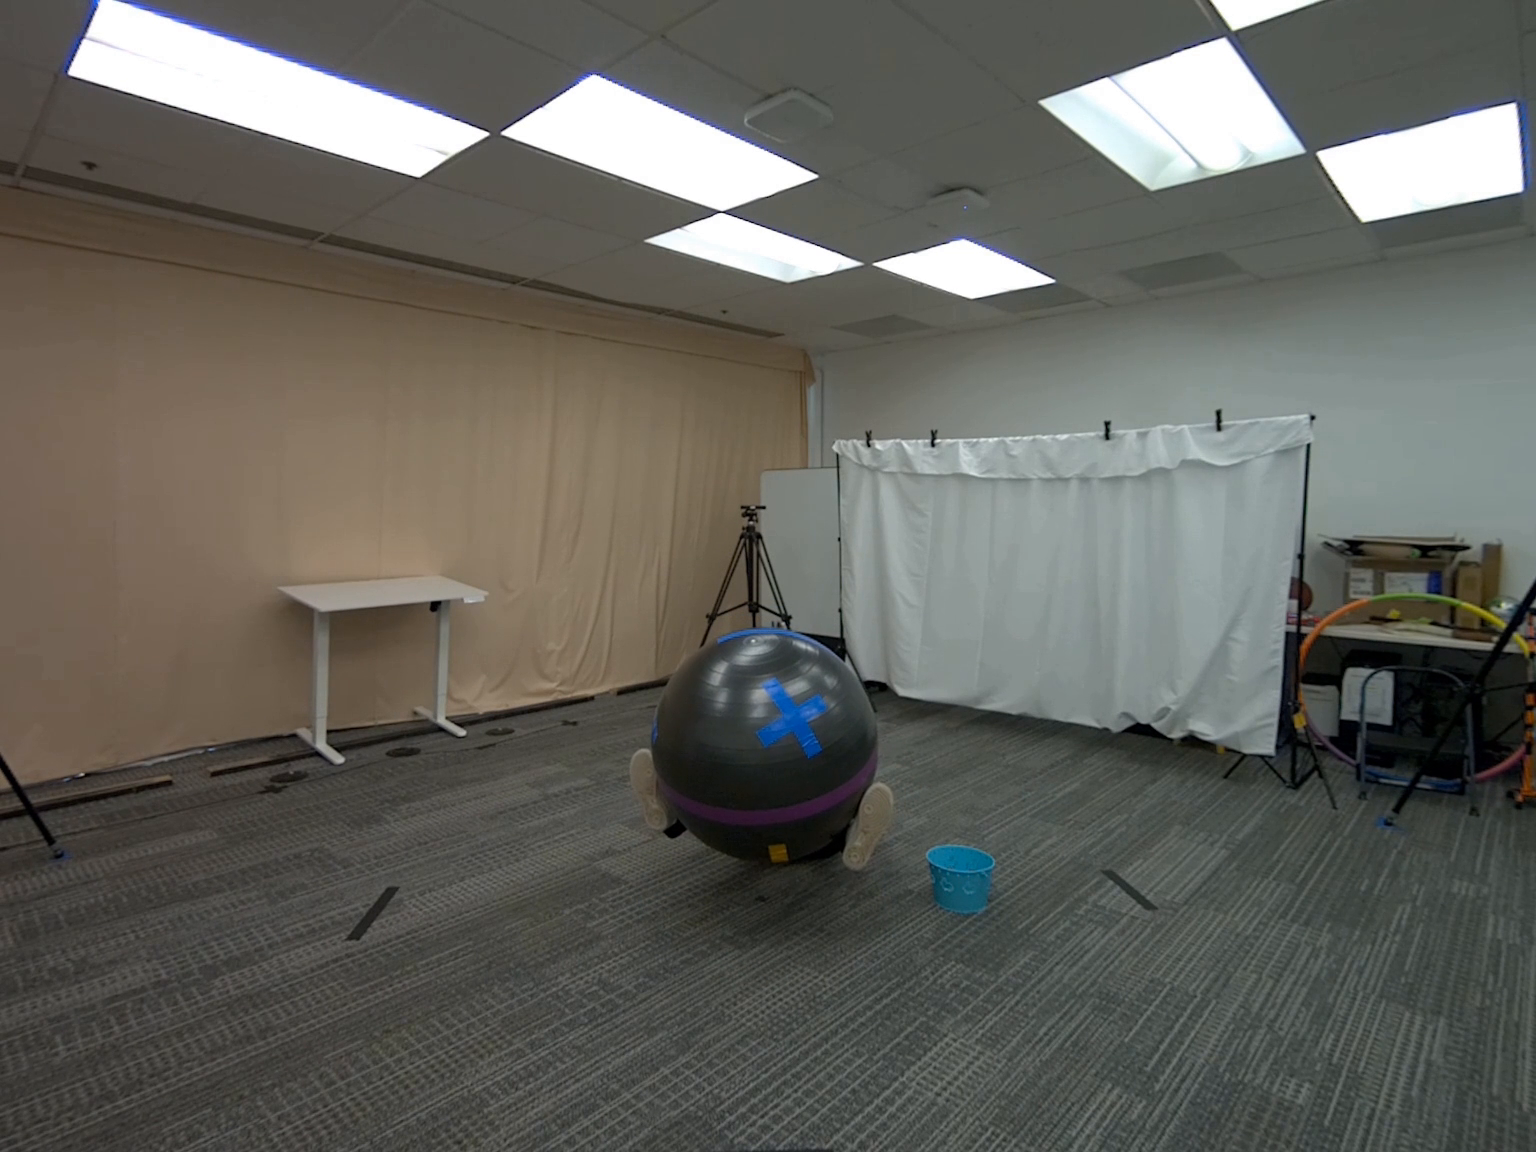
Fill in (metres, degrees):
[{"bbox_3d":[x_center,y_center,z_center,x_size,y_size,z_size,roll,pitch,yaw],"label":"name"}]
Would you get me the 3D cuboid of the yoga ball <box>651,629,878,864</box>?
[{"bbox_3d":[-0.008,0.559,2.831,0.757,0.756,0.760,0,4,-2],"label":"yoga ball"}]
